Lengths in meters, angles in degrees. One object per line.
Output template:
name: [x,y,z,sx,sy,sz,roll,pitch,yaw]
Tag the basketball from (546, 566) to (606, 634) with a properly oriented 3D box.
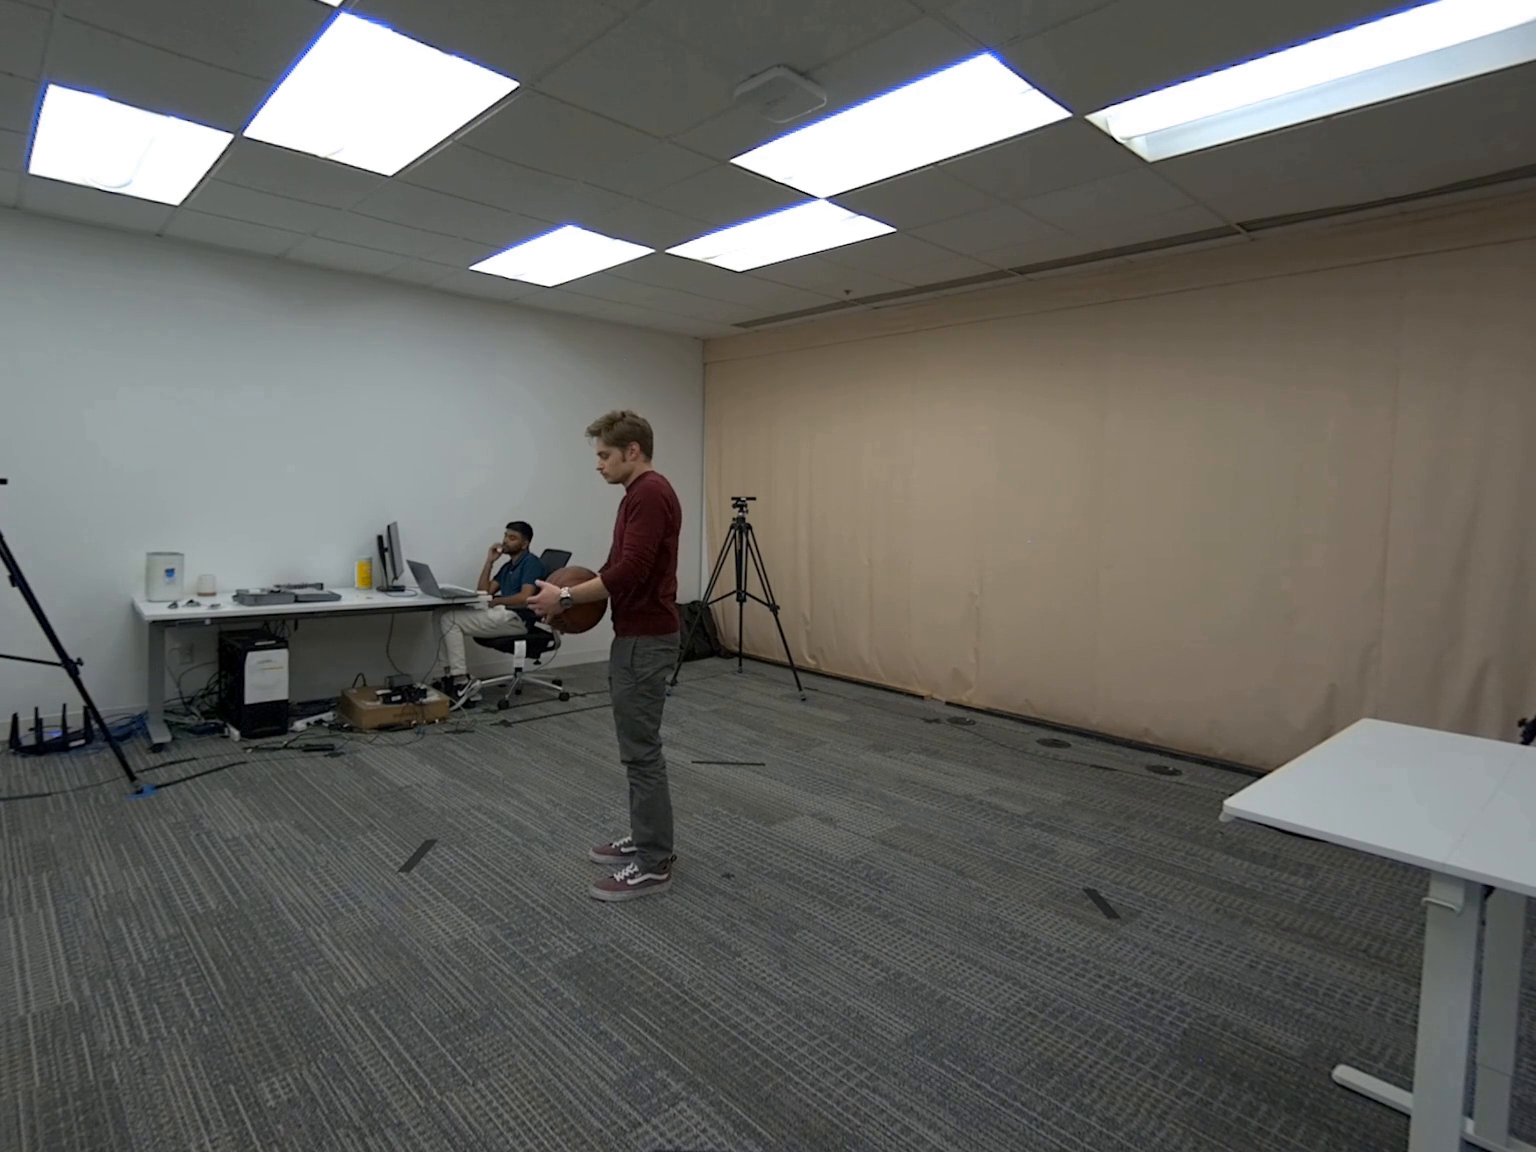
basketball: [-0.678,0.080,2.965,0.236,0.235,0.237,1,4,-1]
